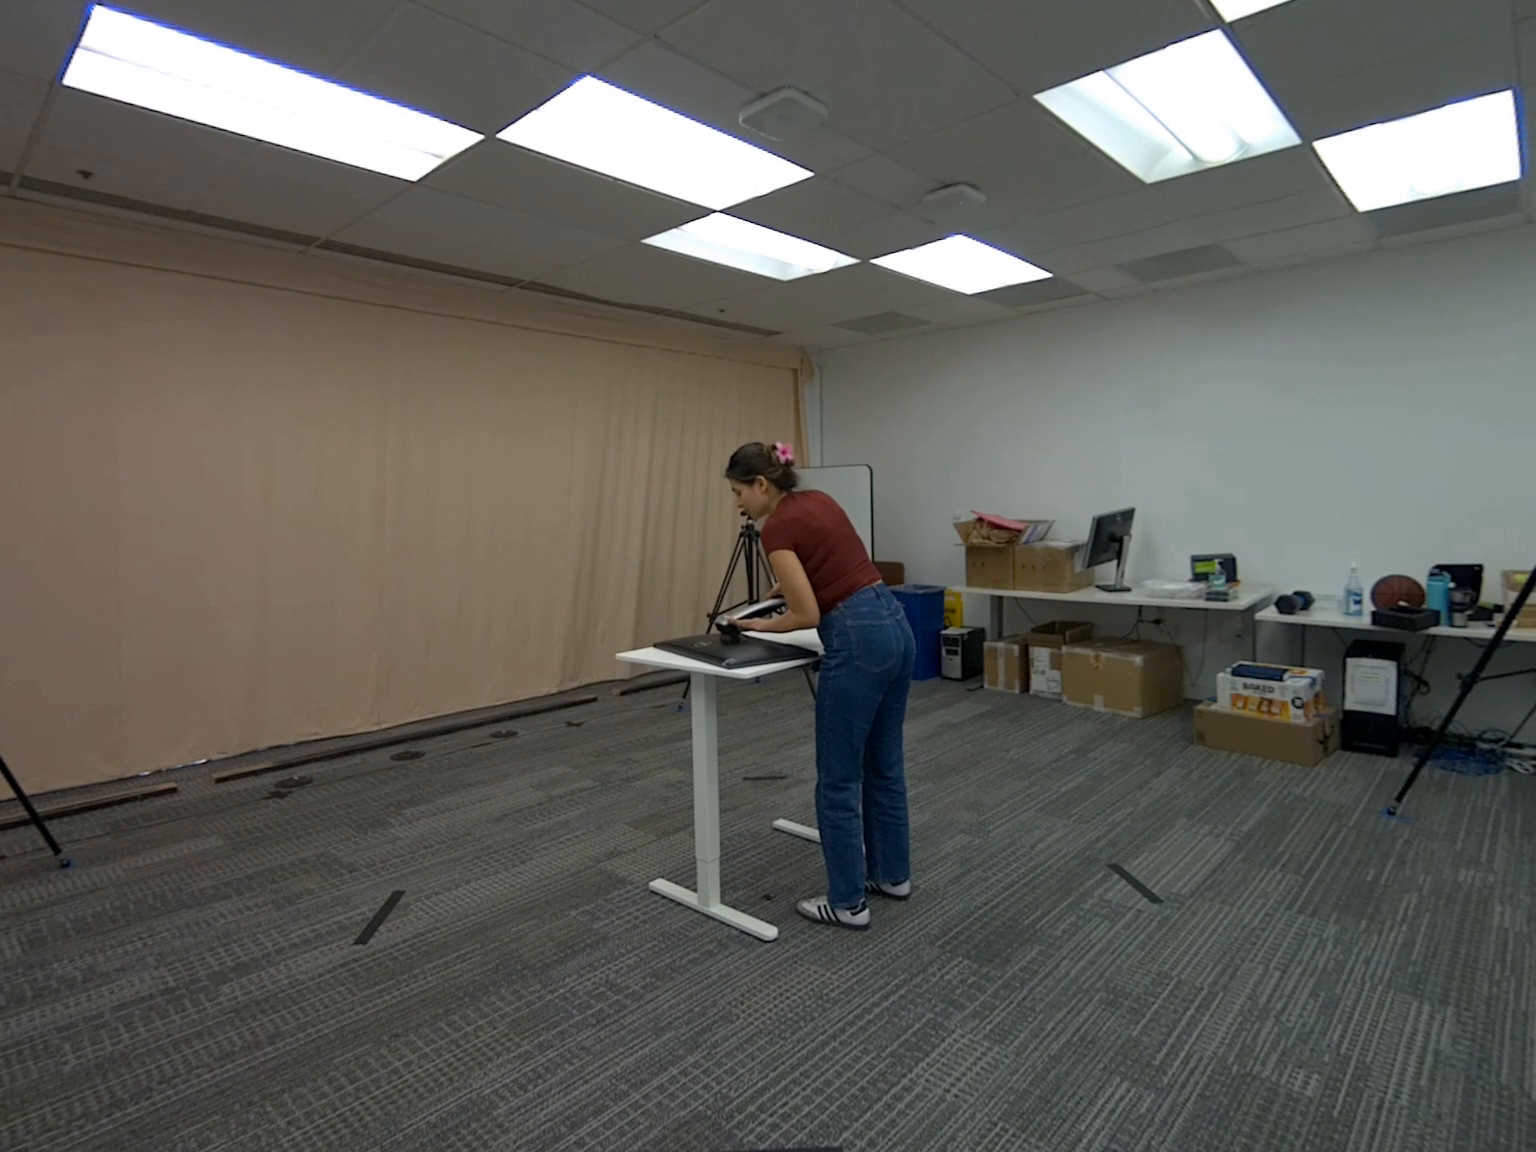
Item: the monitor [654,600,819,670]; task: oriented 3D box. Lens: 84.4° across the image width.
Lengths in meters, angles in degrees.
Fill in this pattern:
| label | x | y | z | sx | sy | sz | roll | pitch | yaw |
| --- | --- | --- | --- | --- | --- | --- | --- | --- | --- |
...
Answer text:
| label | x | y | z | sx | sy | sz | roll | pitch | yaw |
| --- | --- | --- | --- | --- | --- | --- | --- | --- | --- |
| monitor | -0.067 | 0.189 | 2.969 | 0.513 | 0.185 | 0.555 | -26 | 16 | -29 |
